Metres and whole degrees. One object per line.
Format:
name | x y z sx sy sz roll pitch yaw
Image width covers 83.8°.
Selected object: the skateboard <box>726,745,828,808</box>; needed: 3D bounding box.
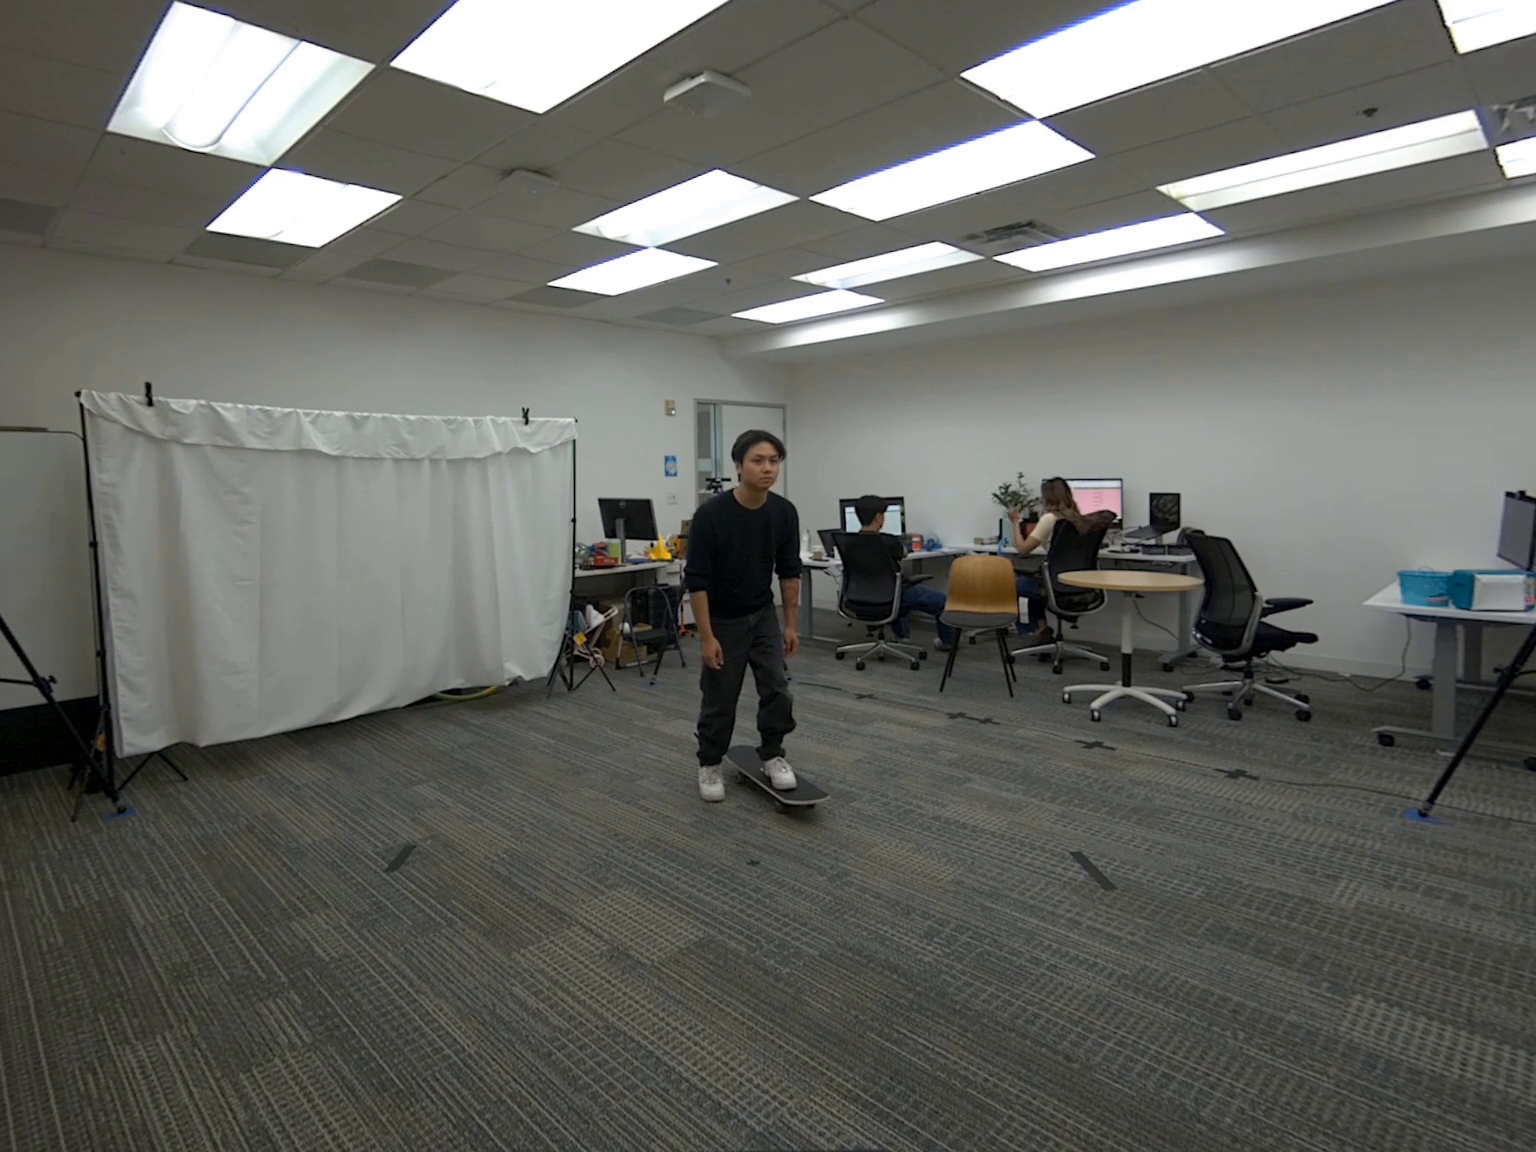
skateboard | 0.028 0.912 3.776 0.189 0.110 0.805 -4 7 -25
